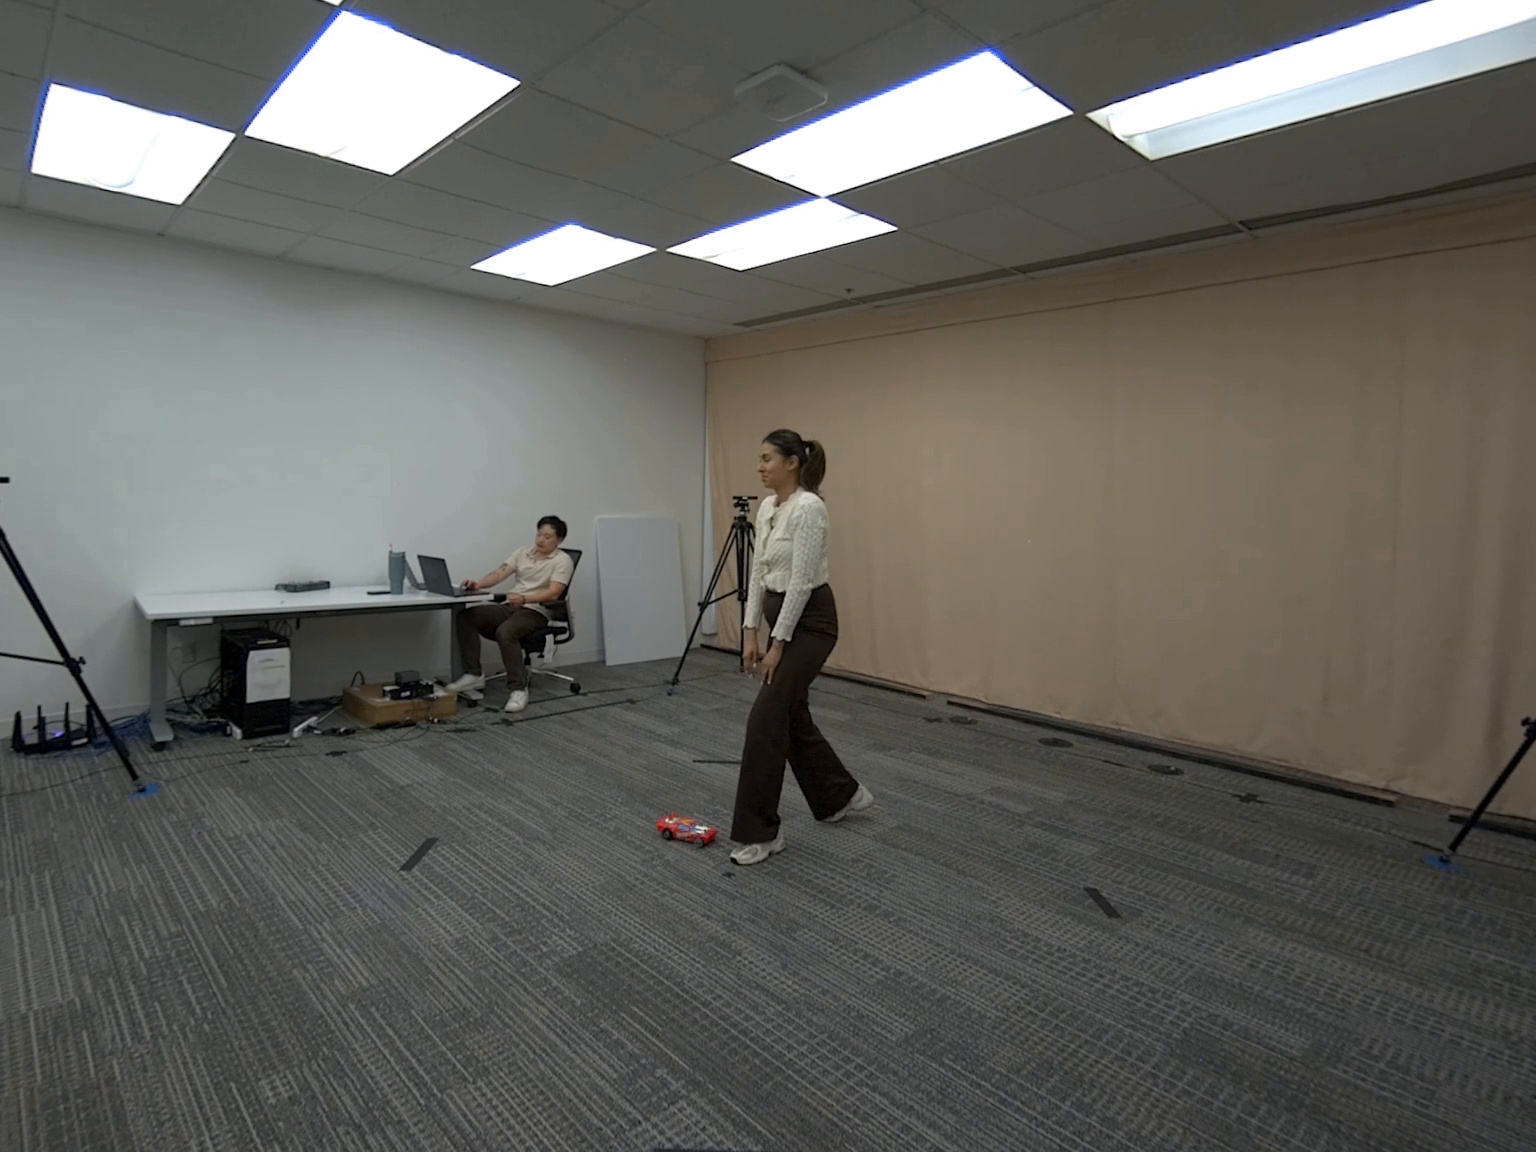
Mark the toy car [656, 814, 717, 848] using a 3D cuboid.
[{"bbox_3d":[-0.345,1.033,3.428,0.260,0.083,0.128,16,11,26],"label":"toy car"}]
